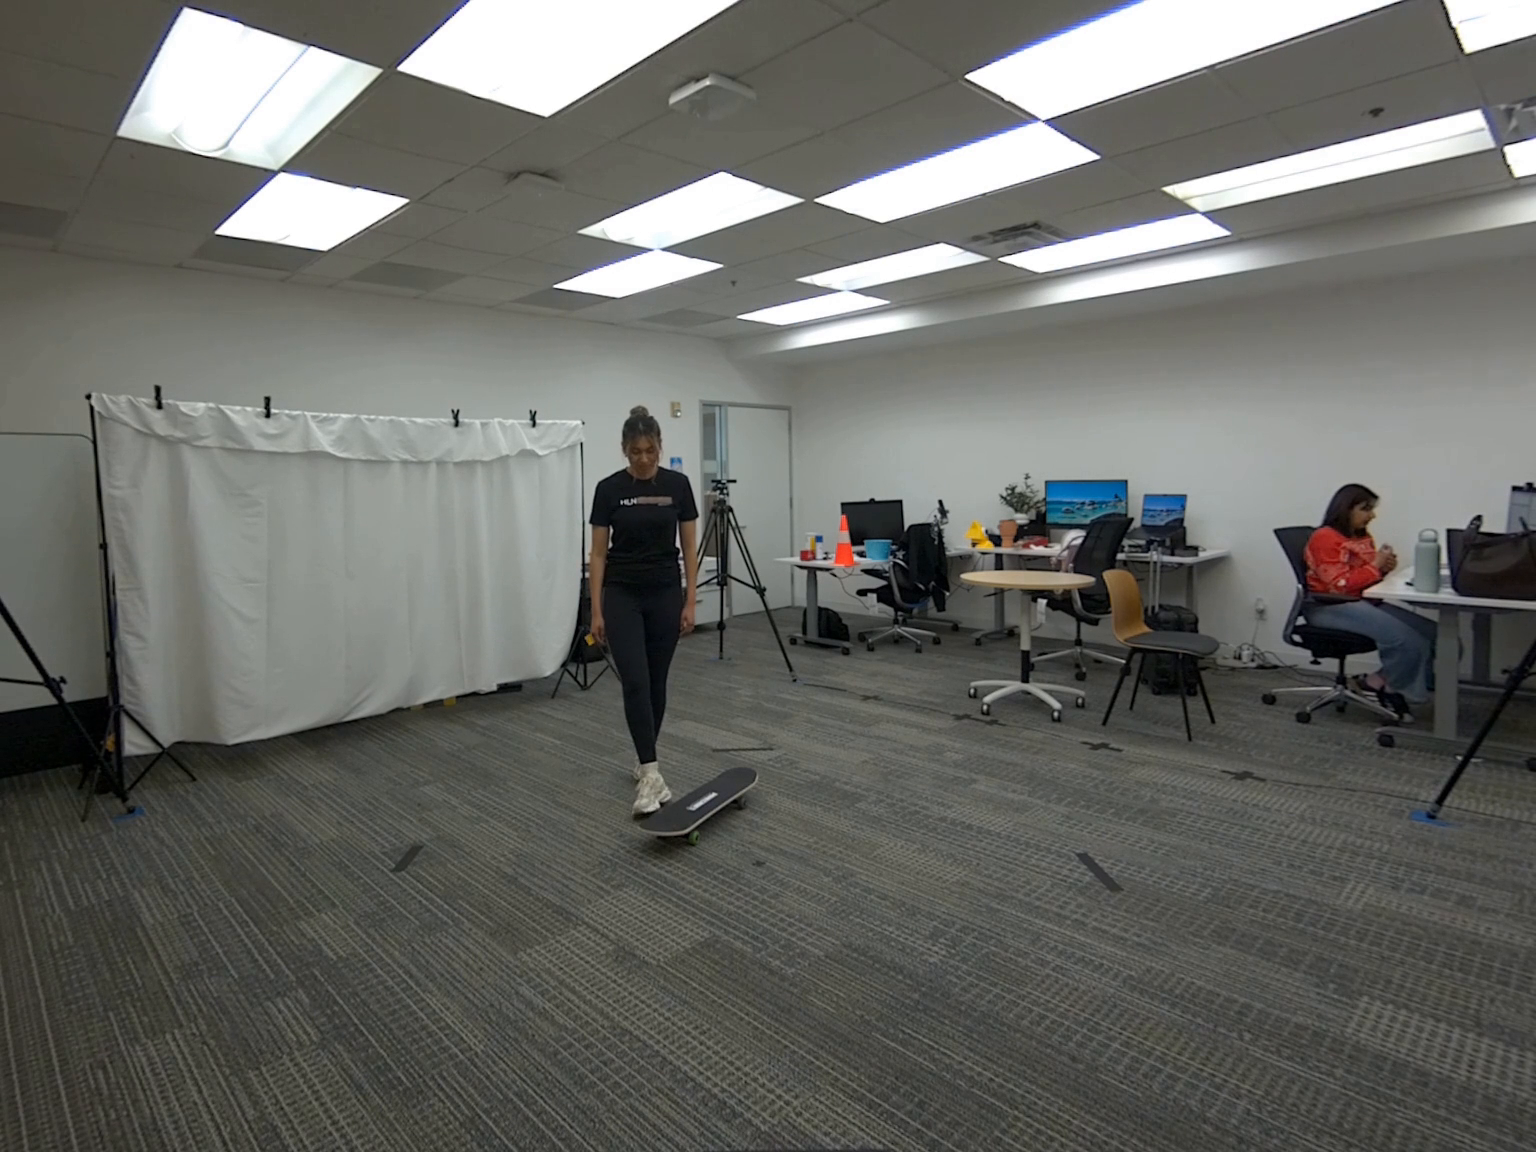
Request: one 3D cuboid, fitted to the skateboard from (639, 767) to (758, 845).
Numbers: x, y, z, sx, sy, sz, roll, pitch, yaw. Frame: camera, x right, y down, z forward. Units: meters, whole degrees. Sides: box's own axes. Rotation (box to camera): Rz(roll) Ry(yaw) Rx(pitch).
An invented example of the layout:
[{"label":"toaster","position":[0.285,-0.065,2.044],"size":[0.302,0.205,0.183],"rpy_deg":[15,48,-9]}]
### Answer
[{"label":"skateboard","position":[-0.267,0.952,3.498],"size":[0.198,0.110,0.770],"rpy_deg":[0,6,26]}]
